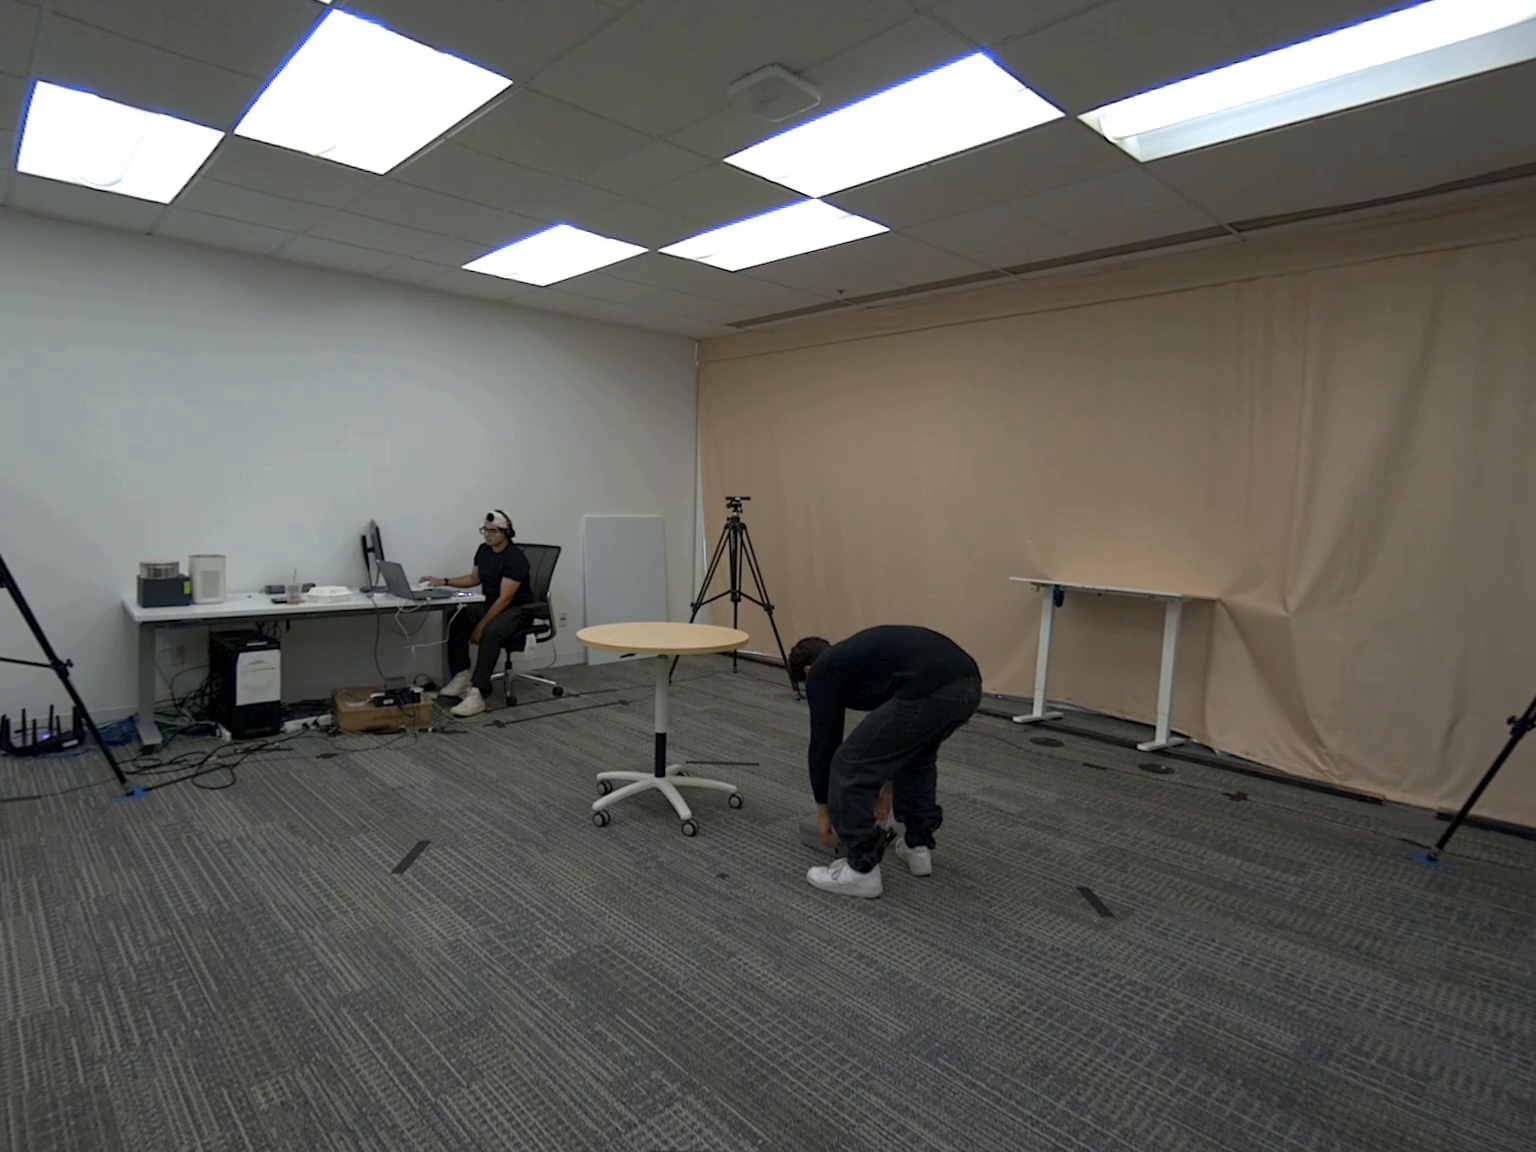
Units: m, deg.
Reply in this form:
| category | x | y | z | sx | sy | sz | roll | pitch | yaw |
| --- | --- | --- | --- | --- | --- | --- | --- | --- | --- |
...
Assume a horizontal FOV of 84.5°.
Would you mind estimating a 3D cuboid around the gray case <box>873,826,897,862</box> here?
| category | x | y | z | sx | sy | sz | roll | pitch | yaw |
| --- | --- | --- | --- | --- | --- | --- | --- | --- | --- |
| gray case | 0.299 | 1.030 | 3.404 | 0.267 | 0.104 | 0.251 | 6 | 4 | 44 |
